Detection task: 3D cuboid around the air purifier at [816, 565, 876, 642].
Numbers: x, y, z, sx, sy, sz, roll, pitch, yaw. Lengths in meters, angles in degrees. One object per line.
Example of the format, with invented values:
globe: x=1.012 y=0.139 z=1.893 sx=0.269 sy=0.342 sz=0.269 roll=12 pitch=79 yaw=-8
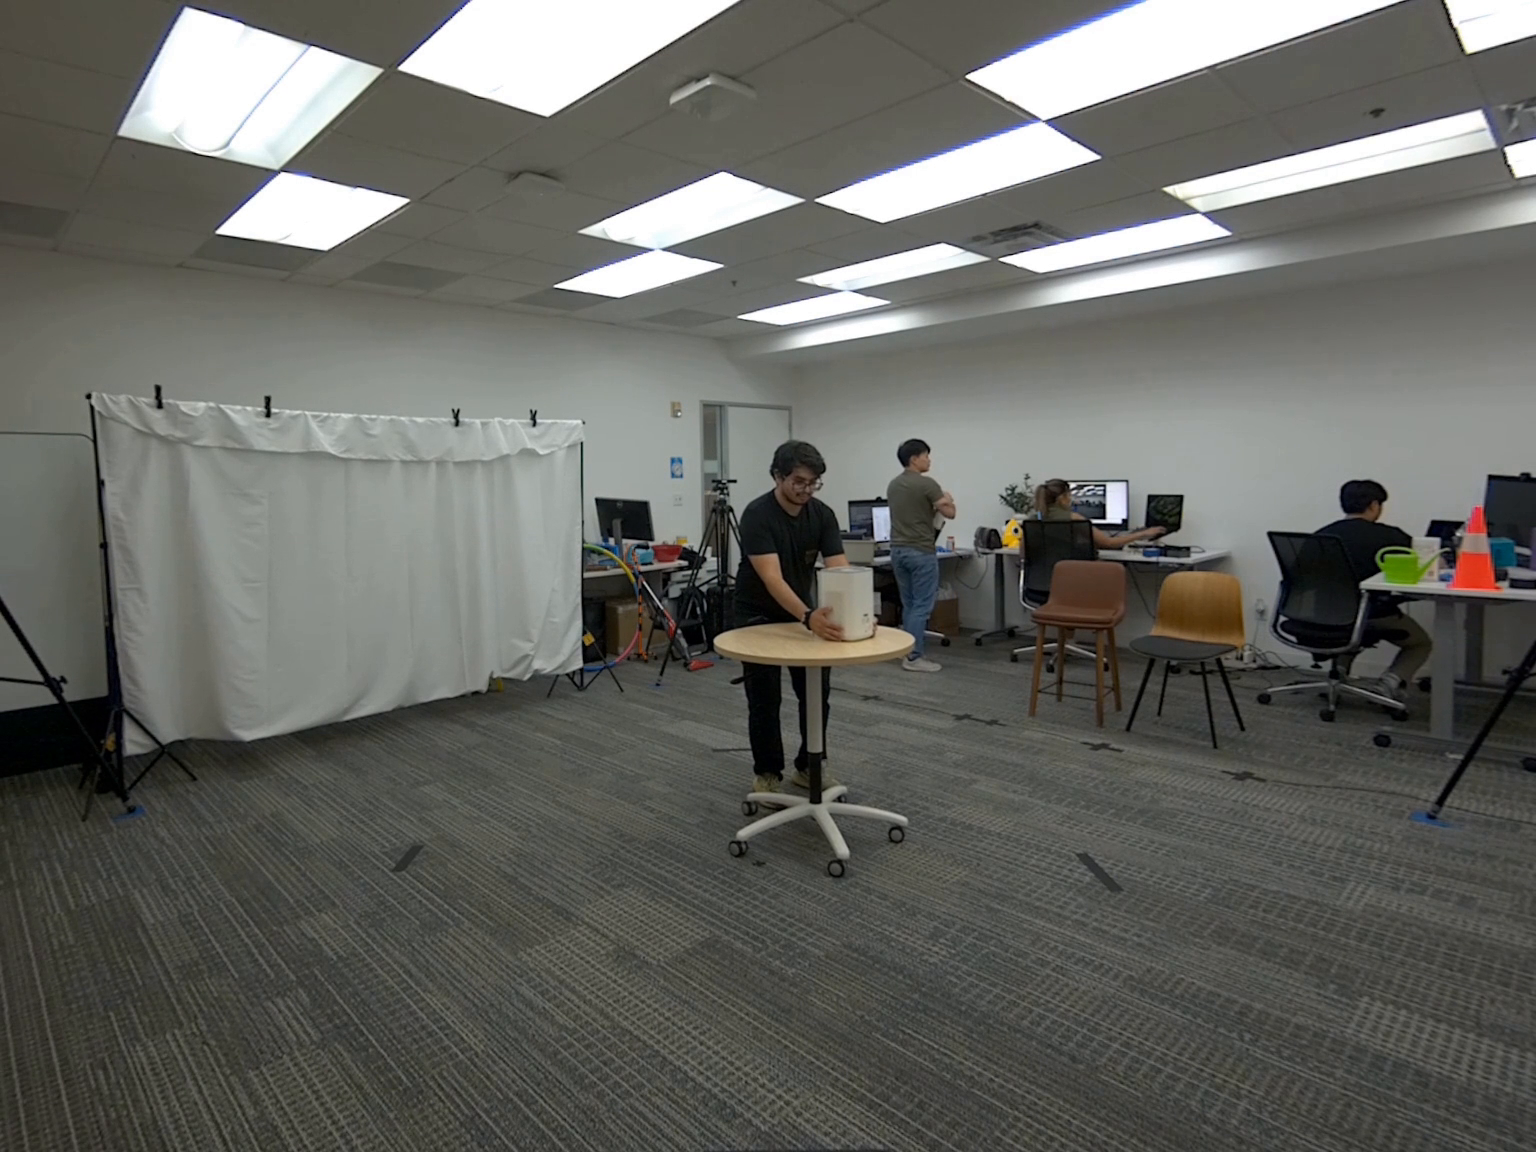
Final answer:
air purifier: x=0.307 y=0.107 z=3.273 sx=0.177 sy=0.264 sz=0.166 roll=3 pitch=5 yaw=40
